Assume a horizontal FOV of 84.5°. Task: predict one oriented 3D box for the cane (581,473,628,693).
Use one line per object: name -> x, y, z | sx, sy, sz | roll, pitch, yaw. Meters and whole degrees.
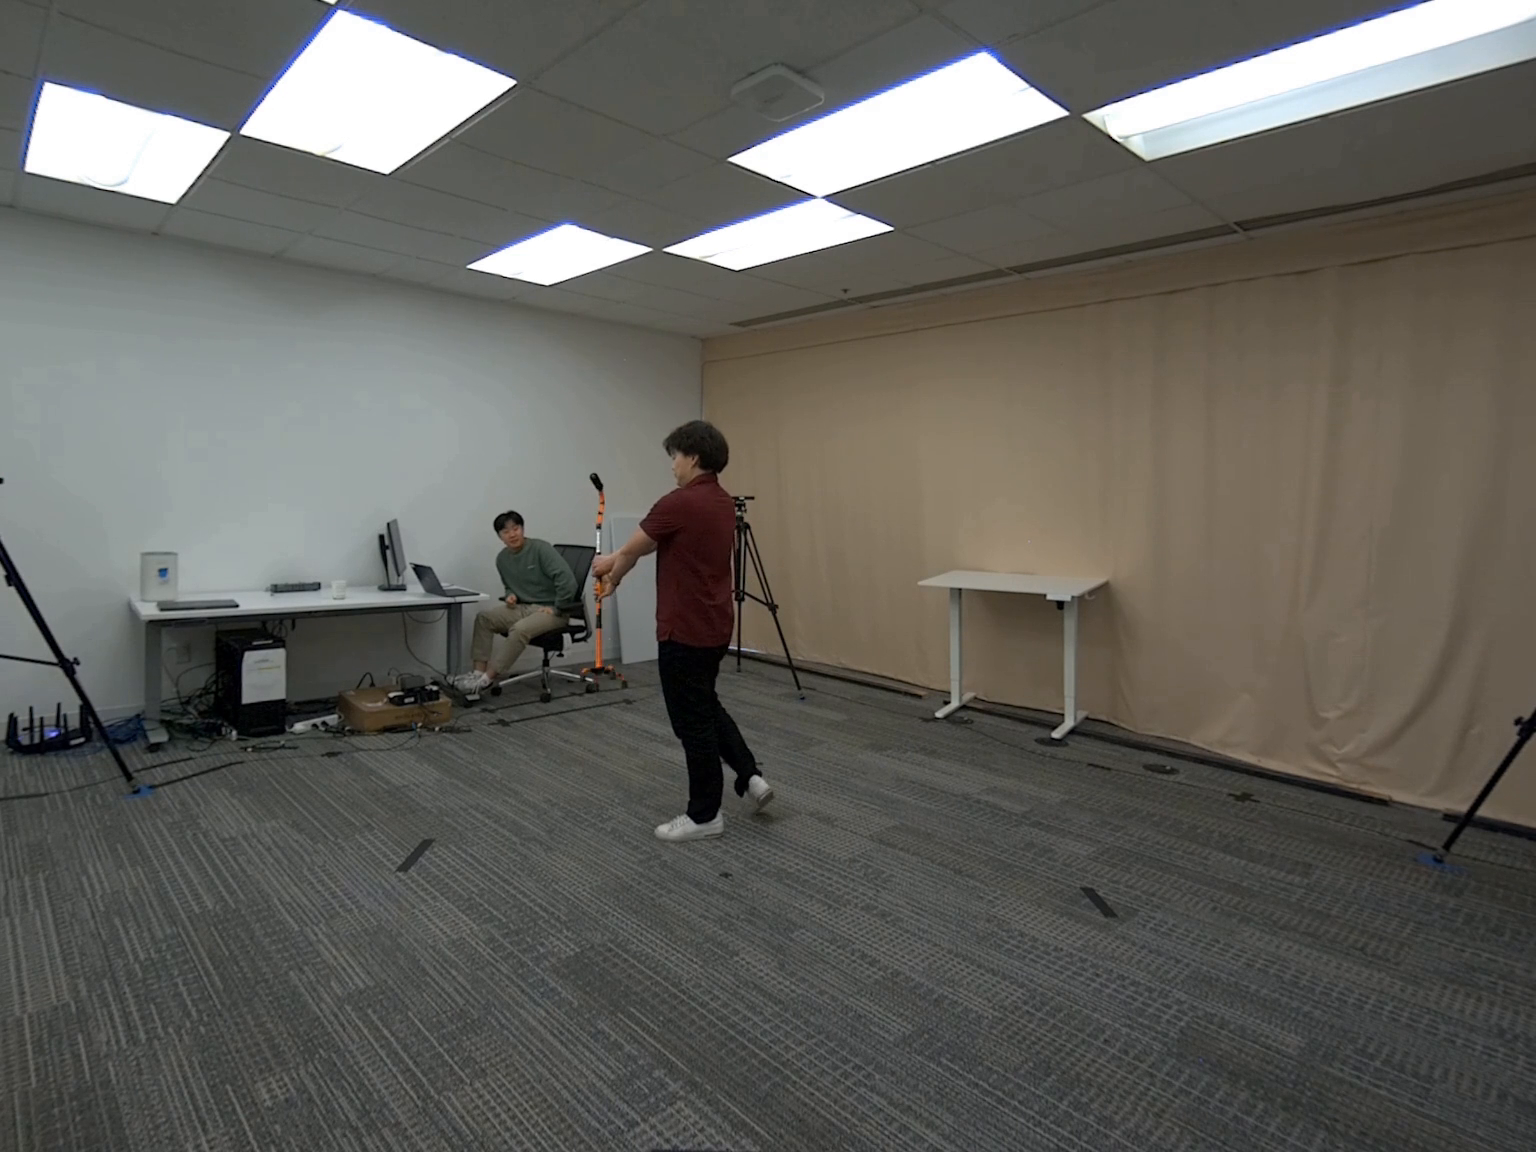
cane -> -0.703, 0.009, 3.562 | 0.152, 0.922, 0.202 | -6, -20, 4
